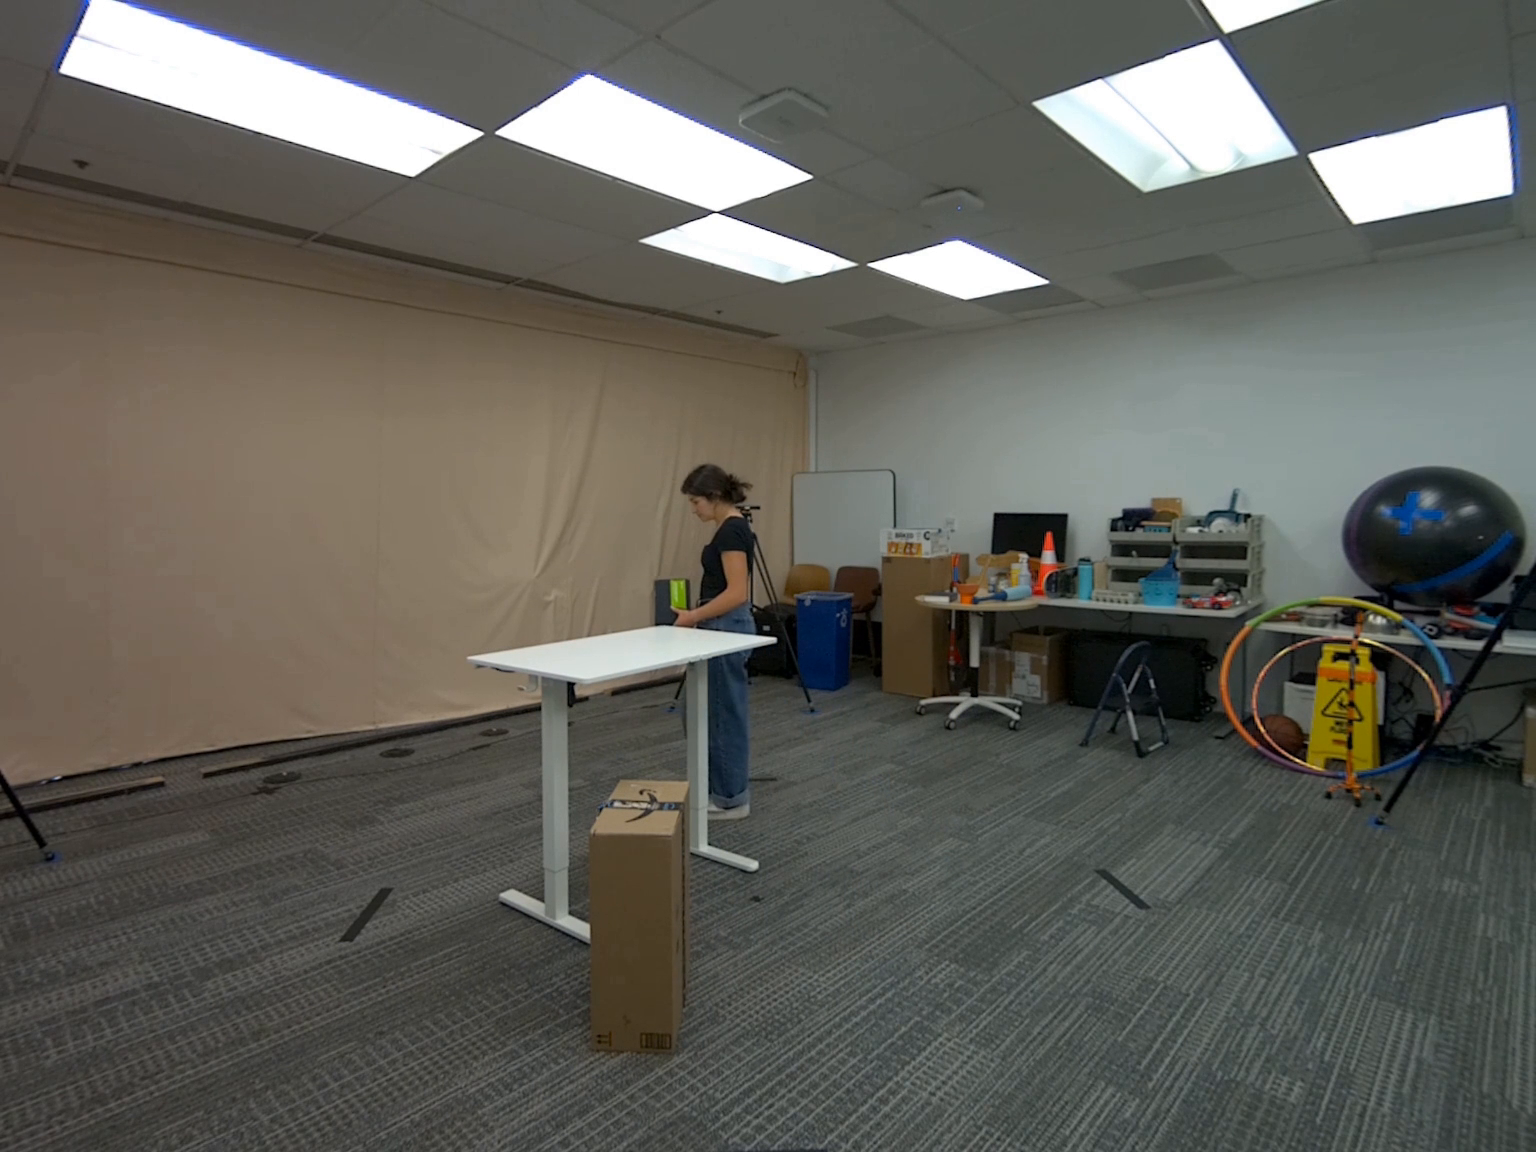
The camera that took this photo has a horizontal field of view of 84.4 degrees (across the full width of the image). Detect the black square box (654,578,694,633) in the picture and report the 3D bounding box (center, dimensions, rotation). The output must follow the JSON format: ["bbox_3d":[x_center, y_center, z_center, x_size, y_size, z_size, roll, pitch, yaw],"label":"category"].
[{"bbox_3d":[-0.425,0.126,3.779,0.155,0.228,0.218,-3,-1,-7],"label":"black square box"}]
